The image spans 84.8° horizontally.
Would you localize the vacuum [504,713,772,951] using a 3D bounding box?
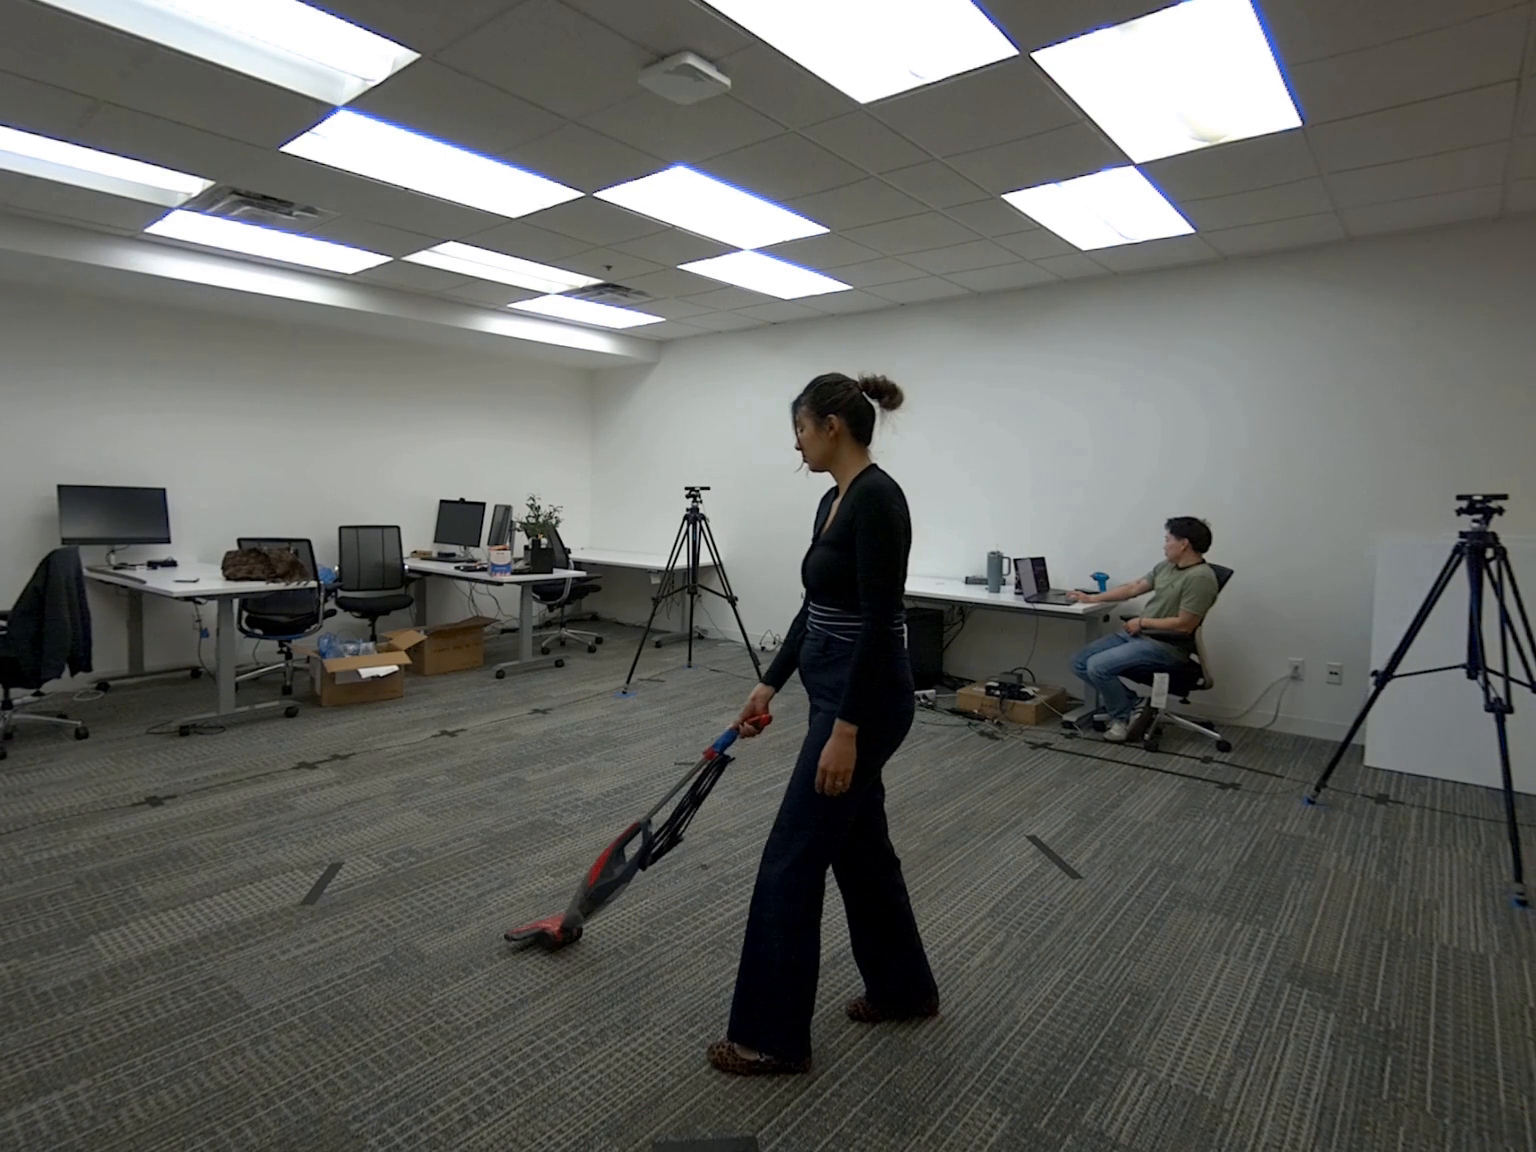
[{"bbox_3d":[-0.352,0.736,2.413,1.049,0.148,0.246,-47,-18,21],"label":"vacuum"}]
